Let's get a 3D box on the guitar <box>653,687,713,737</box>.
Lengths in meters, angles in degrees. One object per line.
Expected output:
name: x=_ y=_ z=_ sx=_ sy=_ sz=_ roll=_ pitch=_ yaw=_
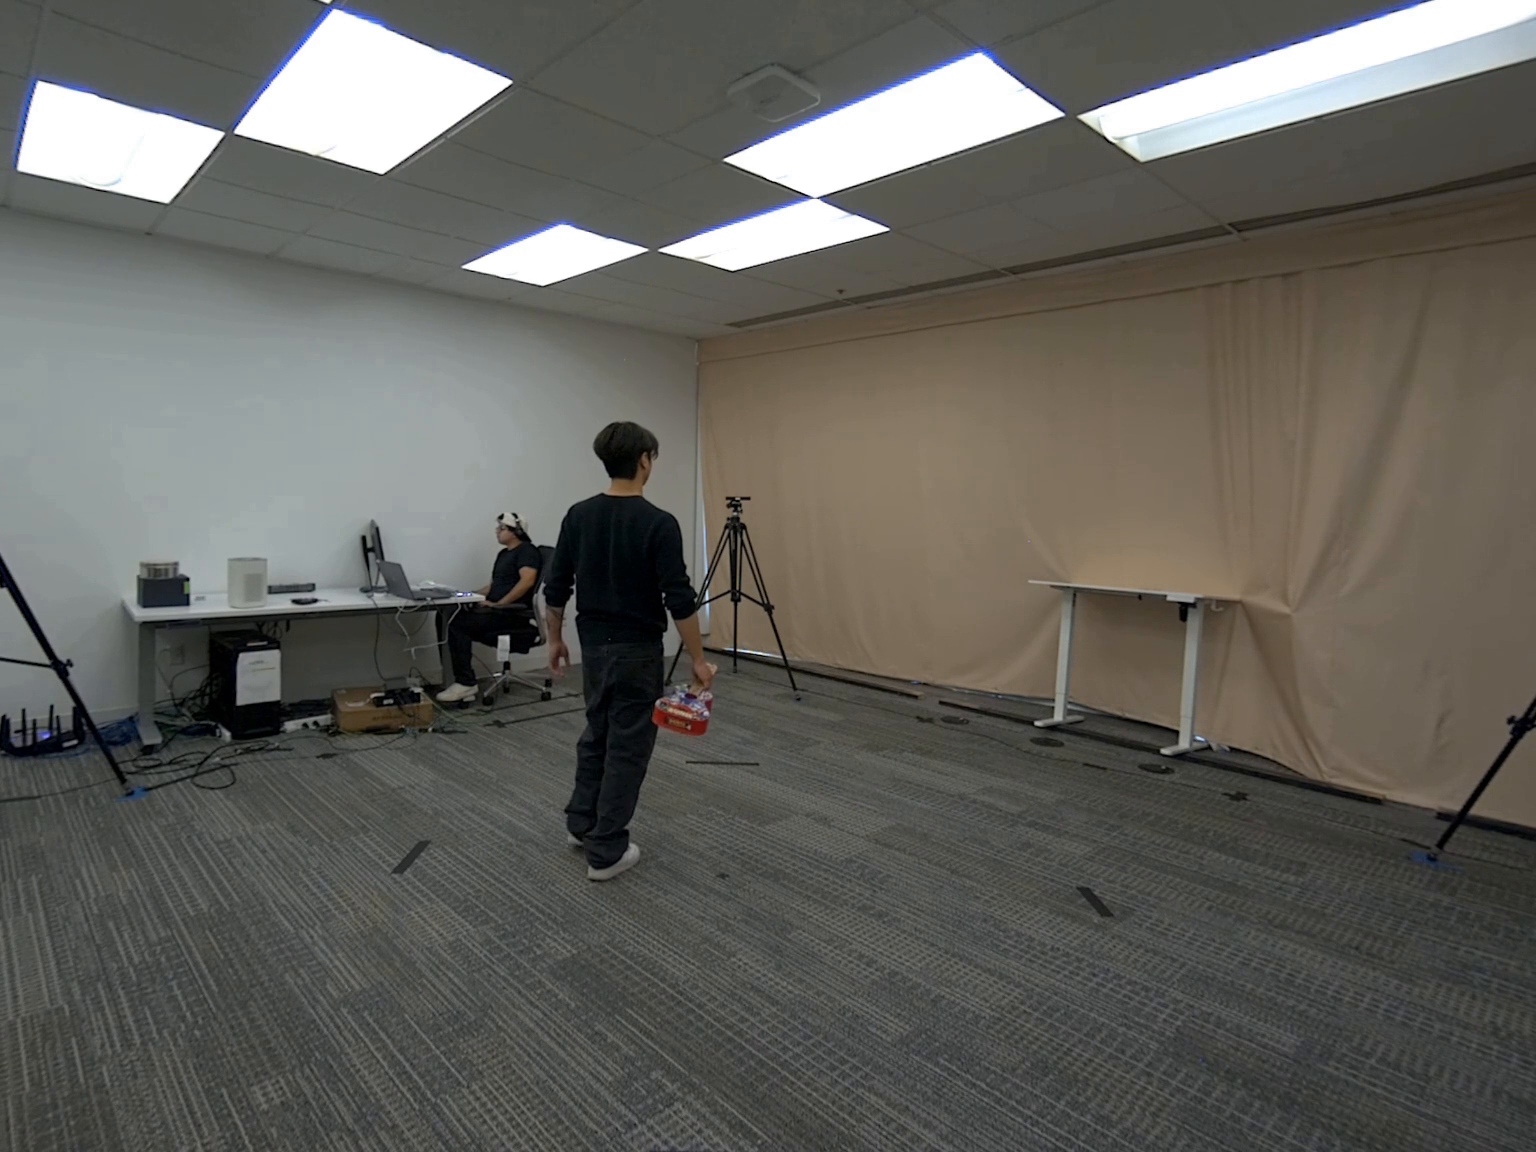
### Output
guitar: x=-0.258 y=0.445 z=3.064 sx=0.196 sy=0.070 sz=0.494 roll=16 pitch=16 yaw=16
